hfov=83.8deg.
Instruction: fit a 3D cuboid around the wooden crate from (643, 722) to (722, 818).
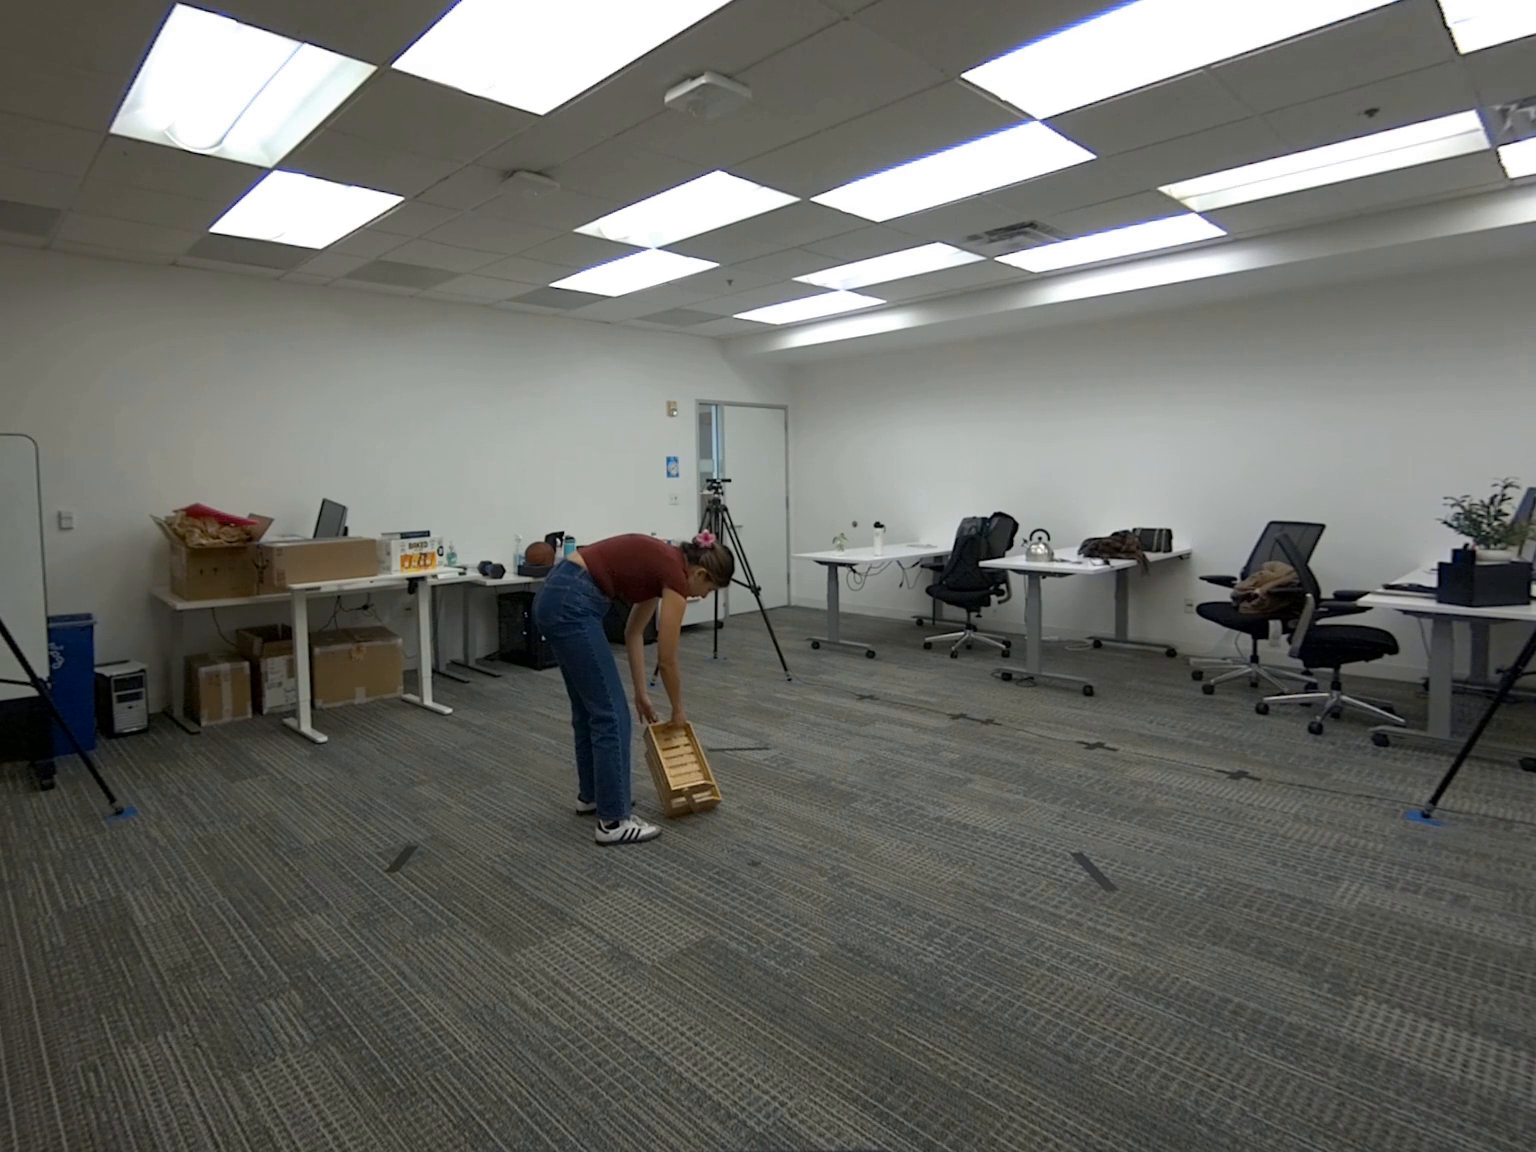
[{"bbox_3d":[-0.348,0.792,3.589,0.295,0.270,0.336,-6,50,-30],"label":"wooden crate"}]
